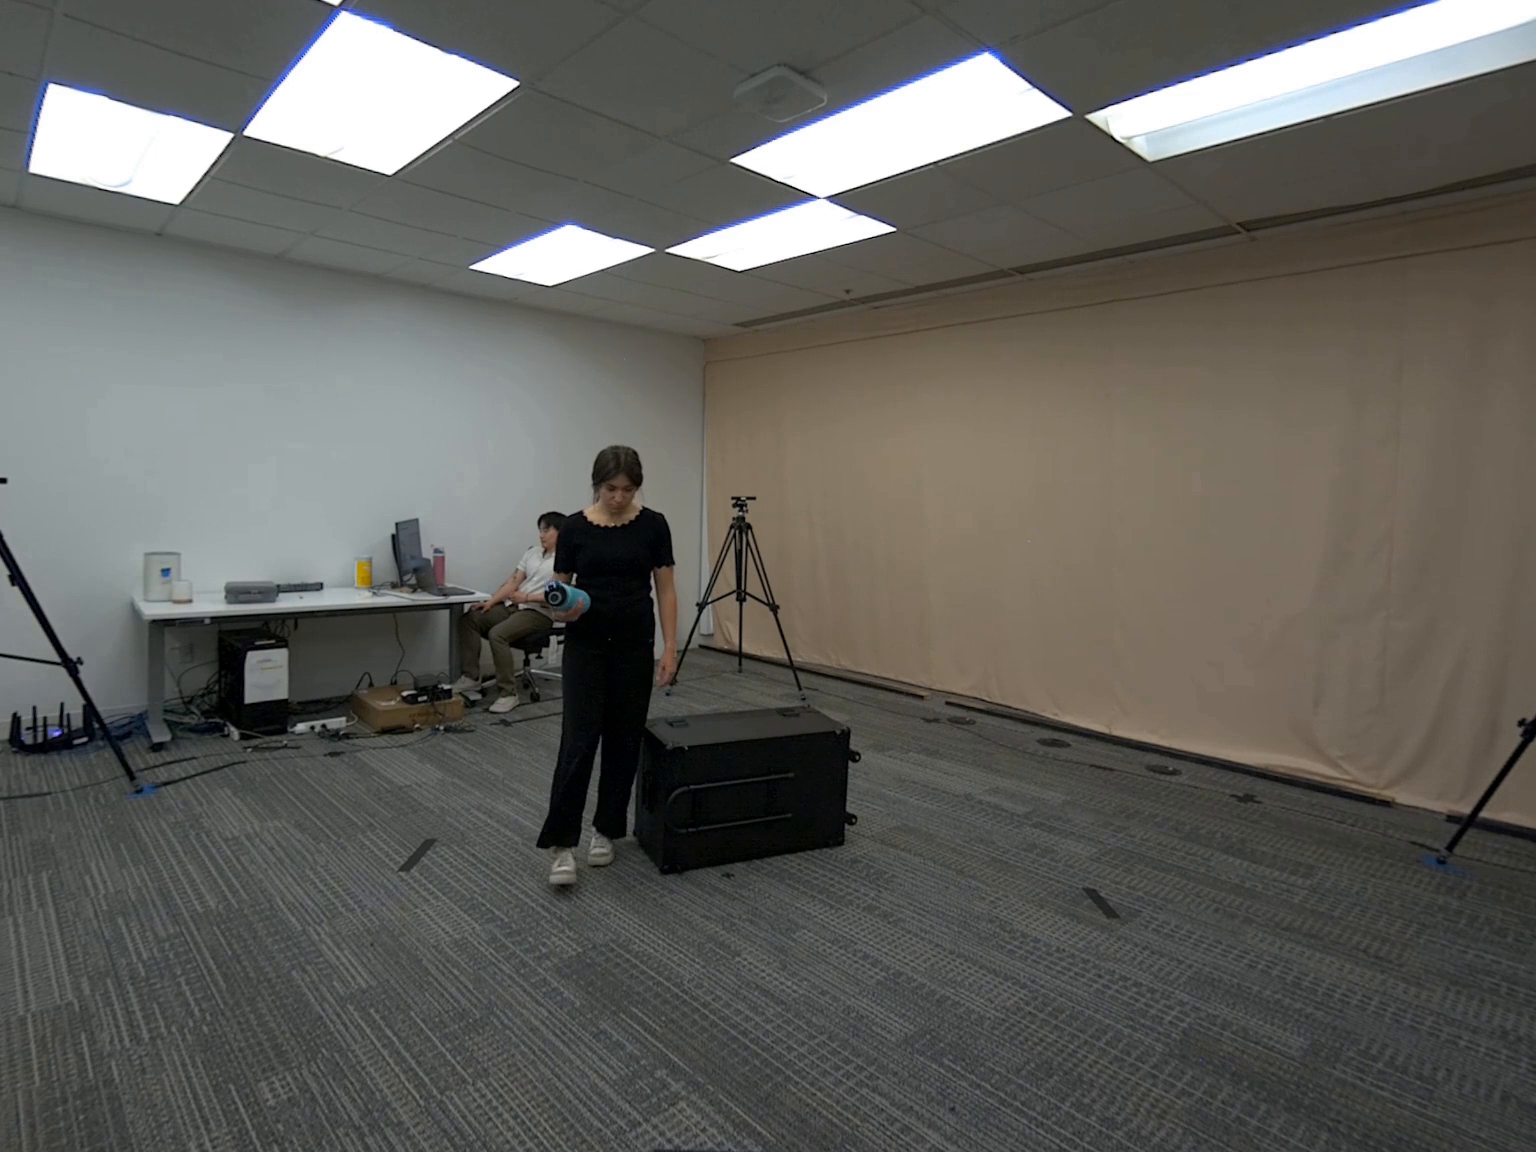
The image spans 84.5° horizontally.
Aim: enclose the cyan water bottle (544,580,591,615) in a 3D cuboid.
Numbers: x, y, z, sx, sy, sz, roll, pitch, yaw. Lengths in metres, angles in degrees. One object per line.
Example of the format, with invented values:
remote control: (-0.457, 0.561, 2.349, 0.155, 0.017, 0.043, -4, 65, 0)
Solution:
cyan water bottle: (-0.718, 0.080, 2.956, 0.093, 0.093, 0.280, 2, -9, 6)
